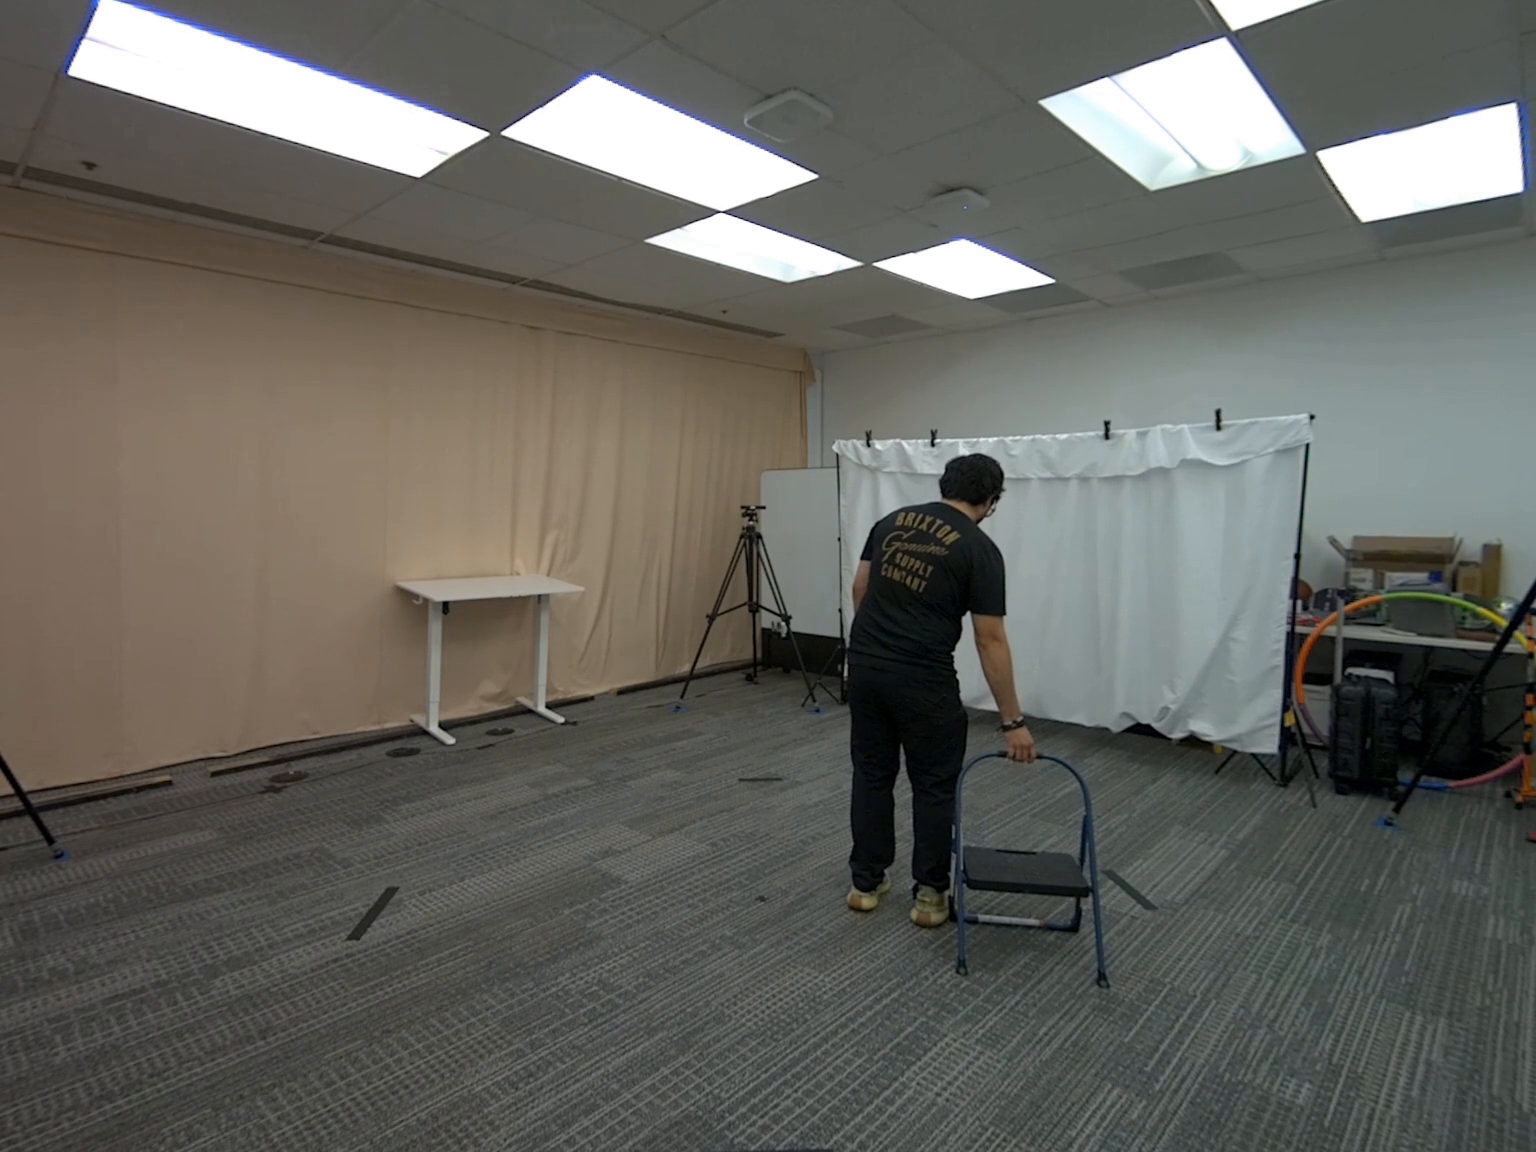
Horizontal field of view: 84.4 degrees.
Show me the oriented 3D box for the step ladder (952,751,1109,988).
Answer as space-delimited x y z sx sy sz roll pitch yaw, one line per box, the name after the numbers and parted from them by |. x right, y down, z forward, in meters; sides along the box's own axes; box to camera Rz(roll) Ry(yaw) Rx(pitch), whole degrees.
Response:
0.807 0.870 2.613 0.435 0.605 0.346 1 4 8 | step ladder
